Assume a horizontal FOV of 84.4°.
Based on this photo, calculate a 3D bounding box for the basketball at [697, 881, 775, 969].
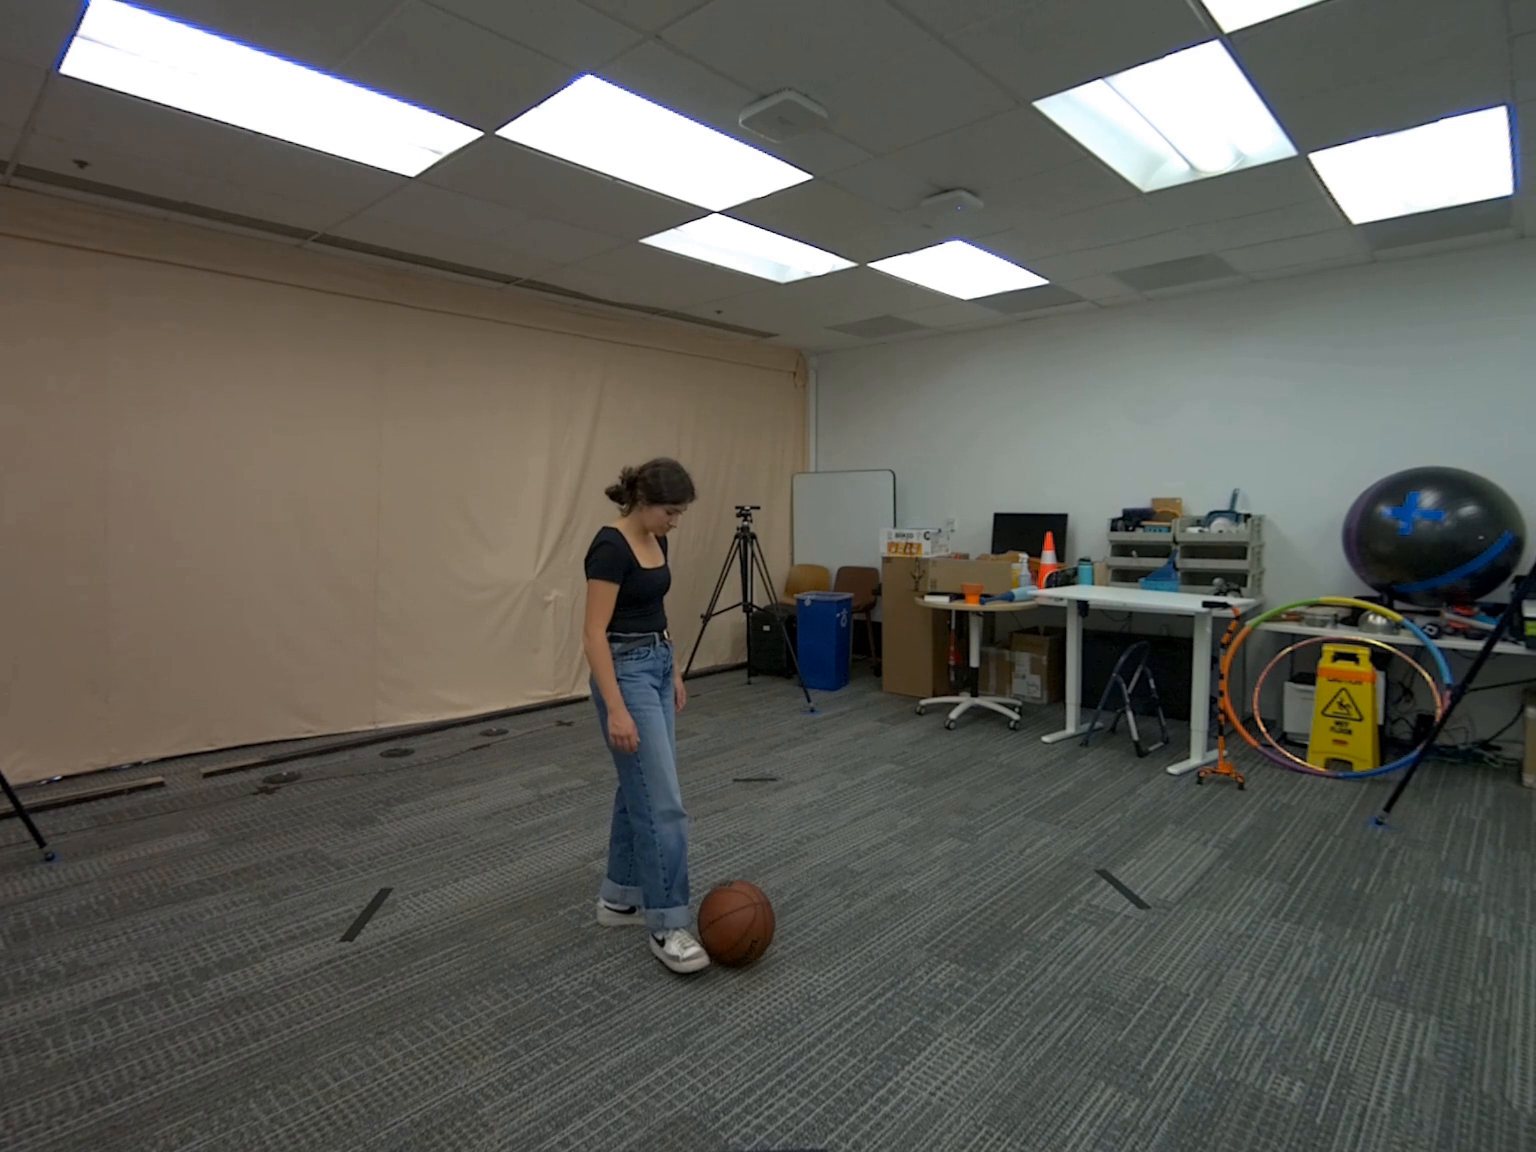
[{"bbox_3d":[-0.094,1.061,2.569,0.236,0.235,0.237,0,4,-2],"label":"basketball"}]
